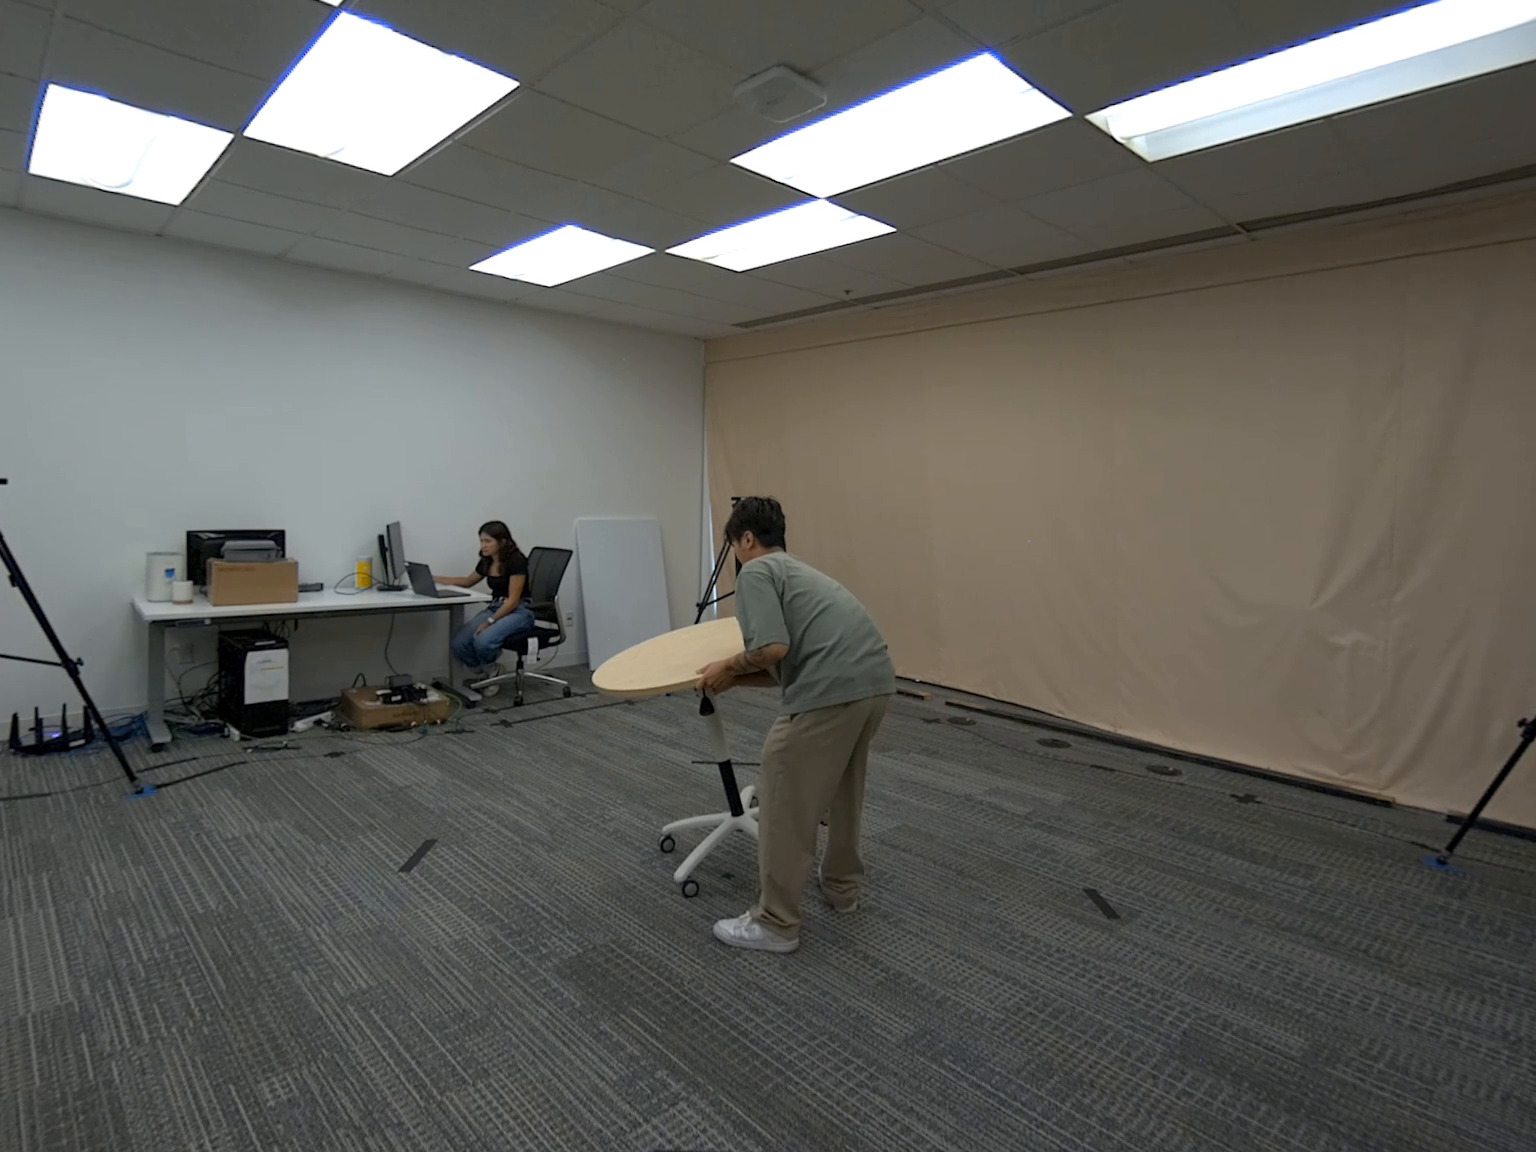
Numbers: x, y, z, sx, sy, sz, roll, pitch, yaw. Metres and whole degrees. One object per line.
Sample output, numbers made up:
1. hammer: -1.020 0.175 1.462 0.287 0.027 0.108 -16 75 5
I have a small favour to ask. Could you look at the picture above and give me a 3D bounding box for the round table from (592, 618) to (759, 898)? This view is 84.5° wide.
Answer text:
1. round table: -0.200 0.650 3.121 0.785 0.781 0.790 -14 8 1
